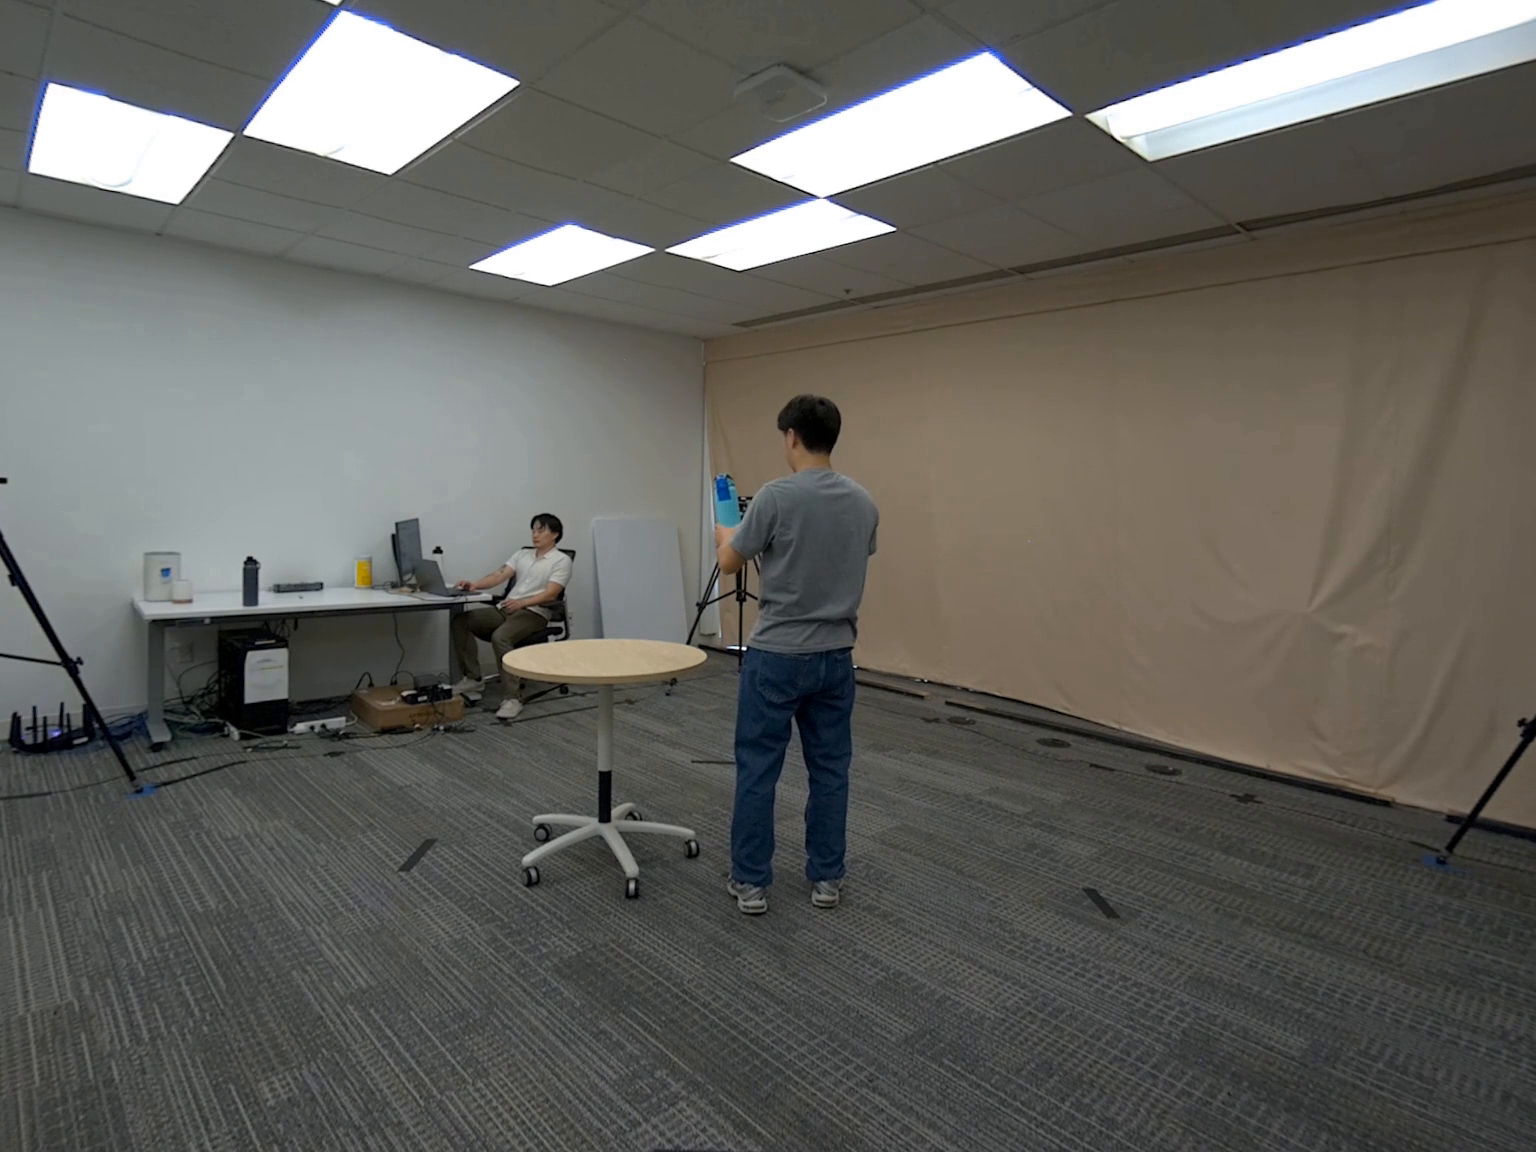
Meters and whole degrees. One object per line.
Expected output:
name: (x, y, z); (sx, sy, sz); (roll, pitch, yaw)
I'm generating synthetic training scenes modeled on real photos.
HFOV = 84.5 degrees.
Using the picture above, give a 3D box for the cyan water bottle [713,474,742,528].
cyan water bottle: (-0.153, -0.260, 3.193); (0.092, 0.284, 0.092); (-7, -3, -2)
